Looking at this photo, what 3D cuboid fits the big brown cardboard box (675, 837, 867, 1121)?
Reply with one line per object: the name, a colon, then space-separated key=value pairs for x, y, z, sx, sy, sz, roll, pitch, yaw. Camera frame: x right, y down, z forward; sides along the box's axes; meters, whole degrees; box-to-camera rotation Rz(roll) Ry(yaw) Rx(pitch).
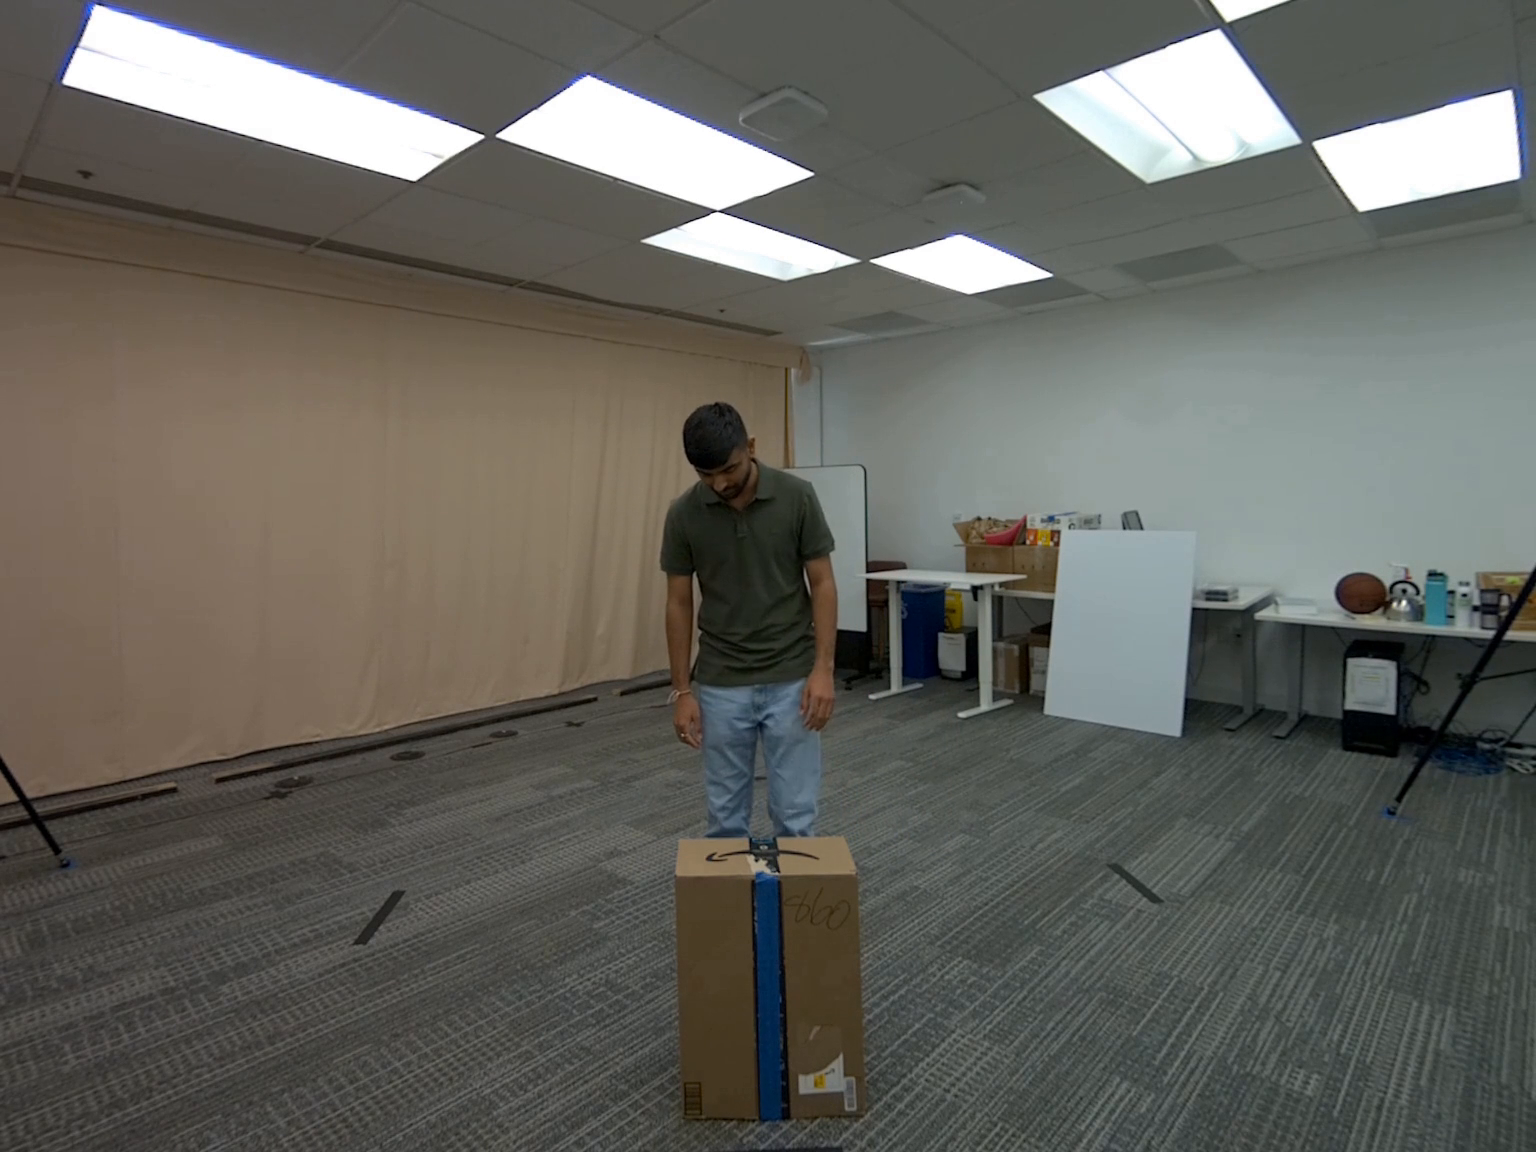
big brown cardboard box: x=0.000 y=0.940 z=2.007 sx=0.418 sy=0.588 sz=0.233 roll=-2 pitch=2 yaw=0
